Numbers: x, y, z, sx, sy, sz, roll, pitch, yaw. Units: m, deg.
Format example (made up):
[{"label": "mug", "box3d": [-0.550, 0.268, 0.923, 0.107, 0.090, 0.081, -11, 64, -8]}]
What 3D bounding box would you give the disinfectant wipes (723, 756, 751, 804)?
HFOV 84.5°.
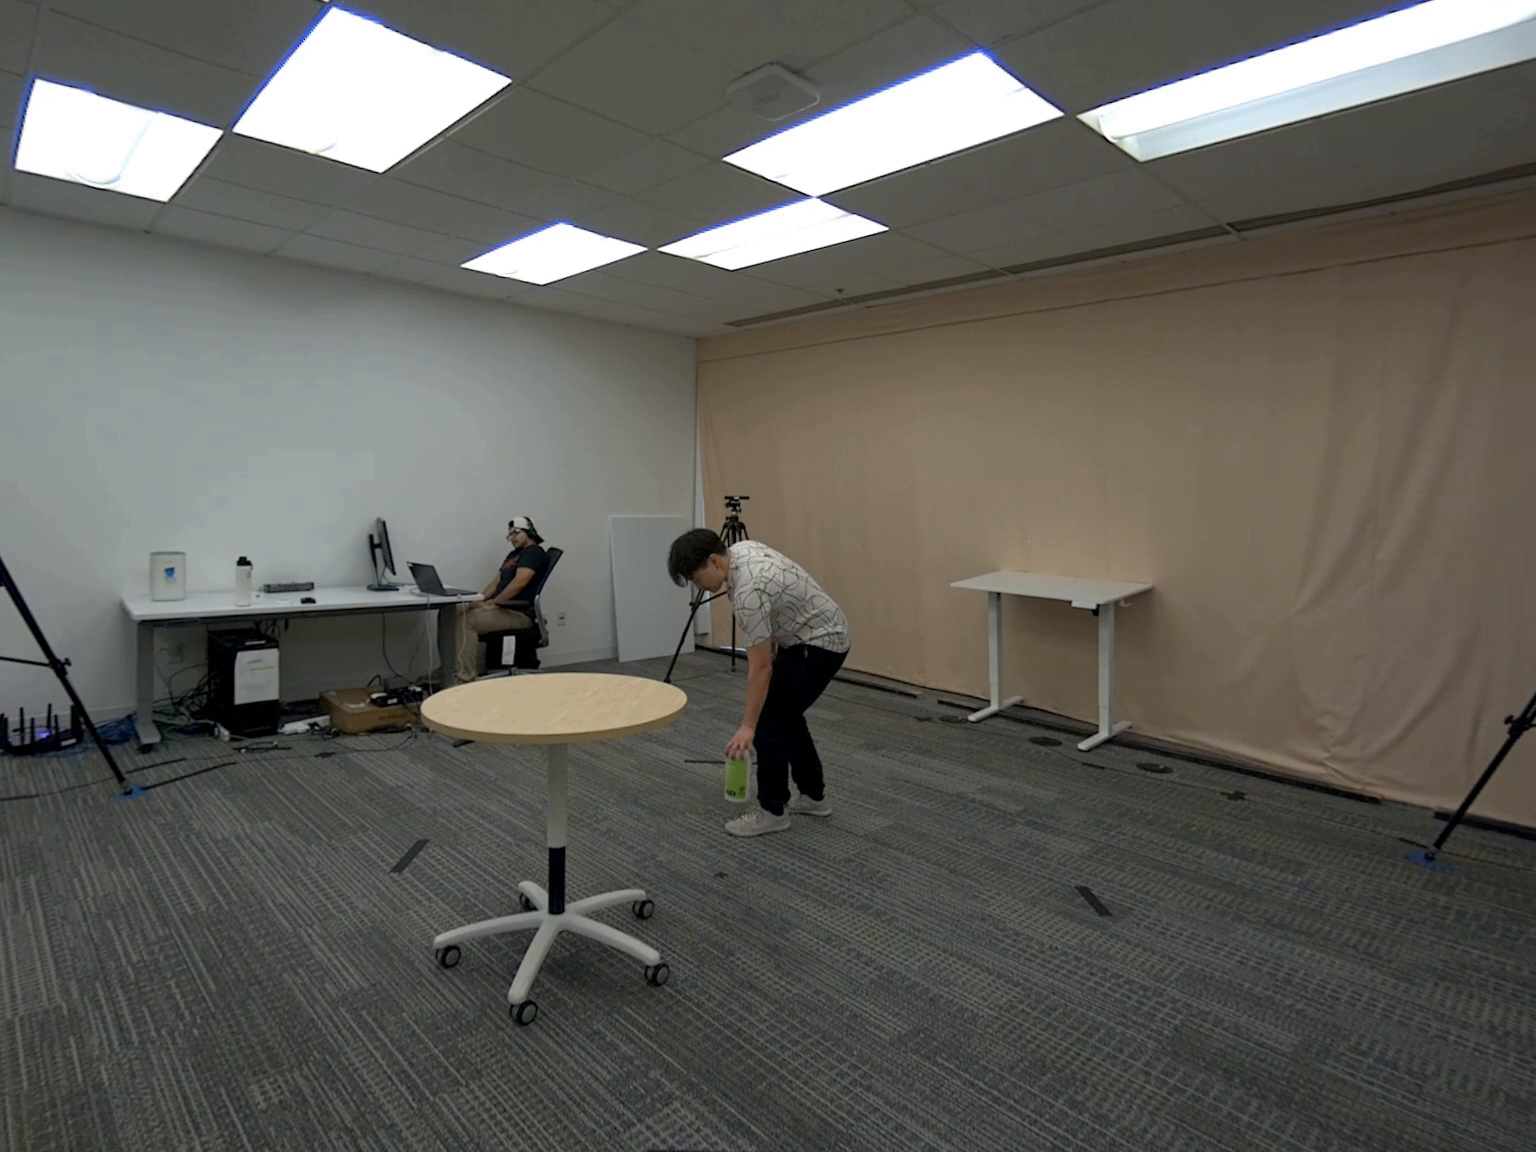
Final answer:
[{"label": "disinfectant wipes", "box3d": [-0.123, 0.781, 3.347, 0.117, 0.216, 0.118, 3, 7, -2]}]
